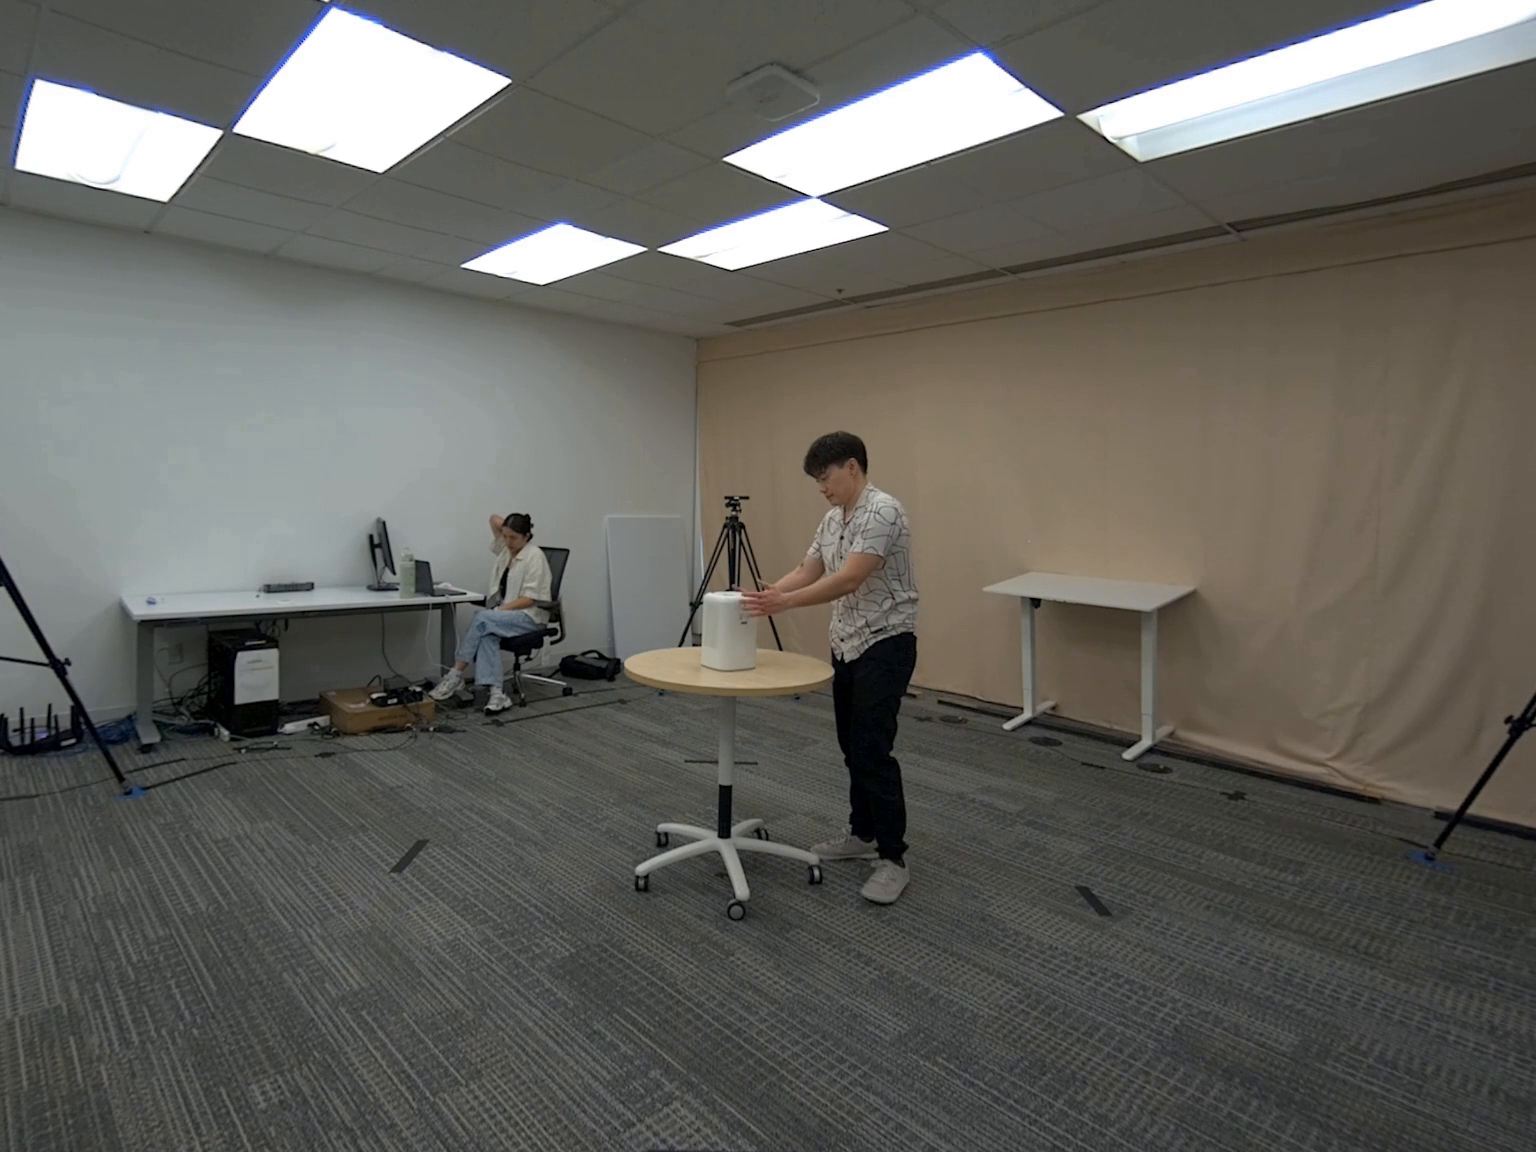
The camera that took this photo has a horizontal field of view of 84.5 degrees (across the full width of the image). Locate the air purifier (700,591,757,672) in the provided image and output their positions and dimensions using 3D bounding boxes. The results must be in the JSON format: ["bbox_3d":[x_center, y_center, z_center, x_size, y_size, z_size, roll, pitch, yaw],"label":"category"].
[{"bbox_3d":[-0.147,0.194,3.041,0.167,0.265,0.176,-1,4,-42],"label":"air purifier"}]
